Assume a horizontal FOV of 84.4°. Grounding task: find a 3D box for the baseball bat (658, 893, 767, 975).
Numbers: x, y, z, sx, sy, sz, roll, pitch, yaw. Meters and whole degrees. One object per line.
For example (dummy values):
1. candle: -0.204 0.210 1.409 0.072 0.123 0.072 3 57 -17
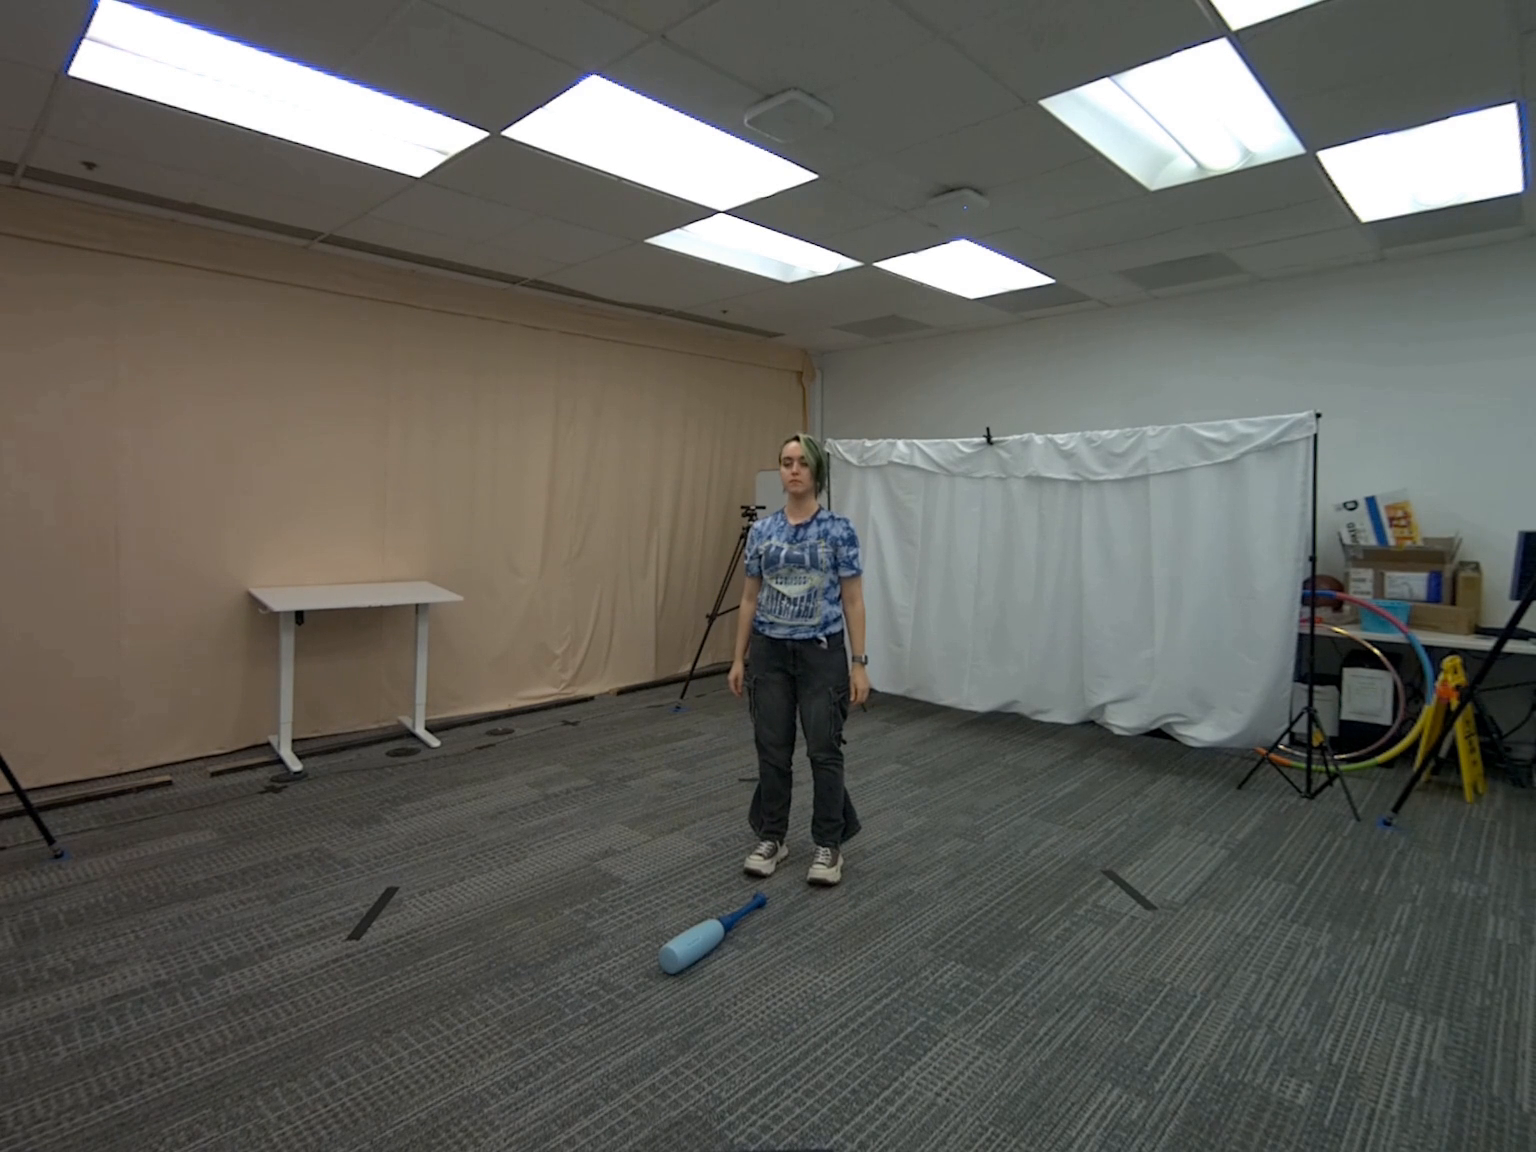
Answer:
1. baseball bat: -0.153 1.137 2.704 0.092 0.089 0.527 2 2 32
